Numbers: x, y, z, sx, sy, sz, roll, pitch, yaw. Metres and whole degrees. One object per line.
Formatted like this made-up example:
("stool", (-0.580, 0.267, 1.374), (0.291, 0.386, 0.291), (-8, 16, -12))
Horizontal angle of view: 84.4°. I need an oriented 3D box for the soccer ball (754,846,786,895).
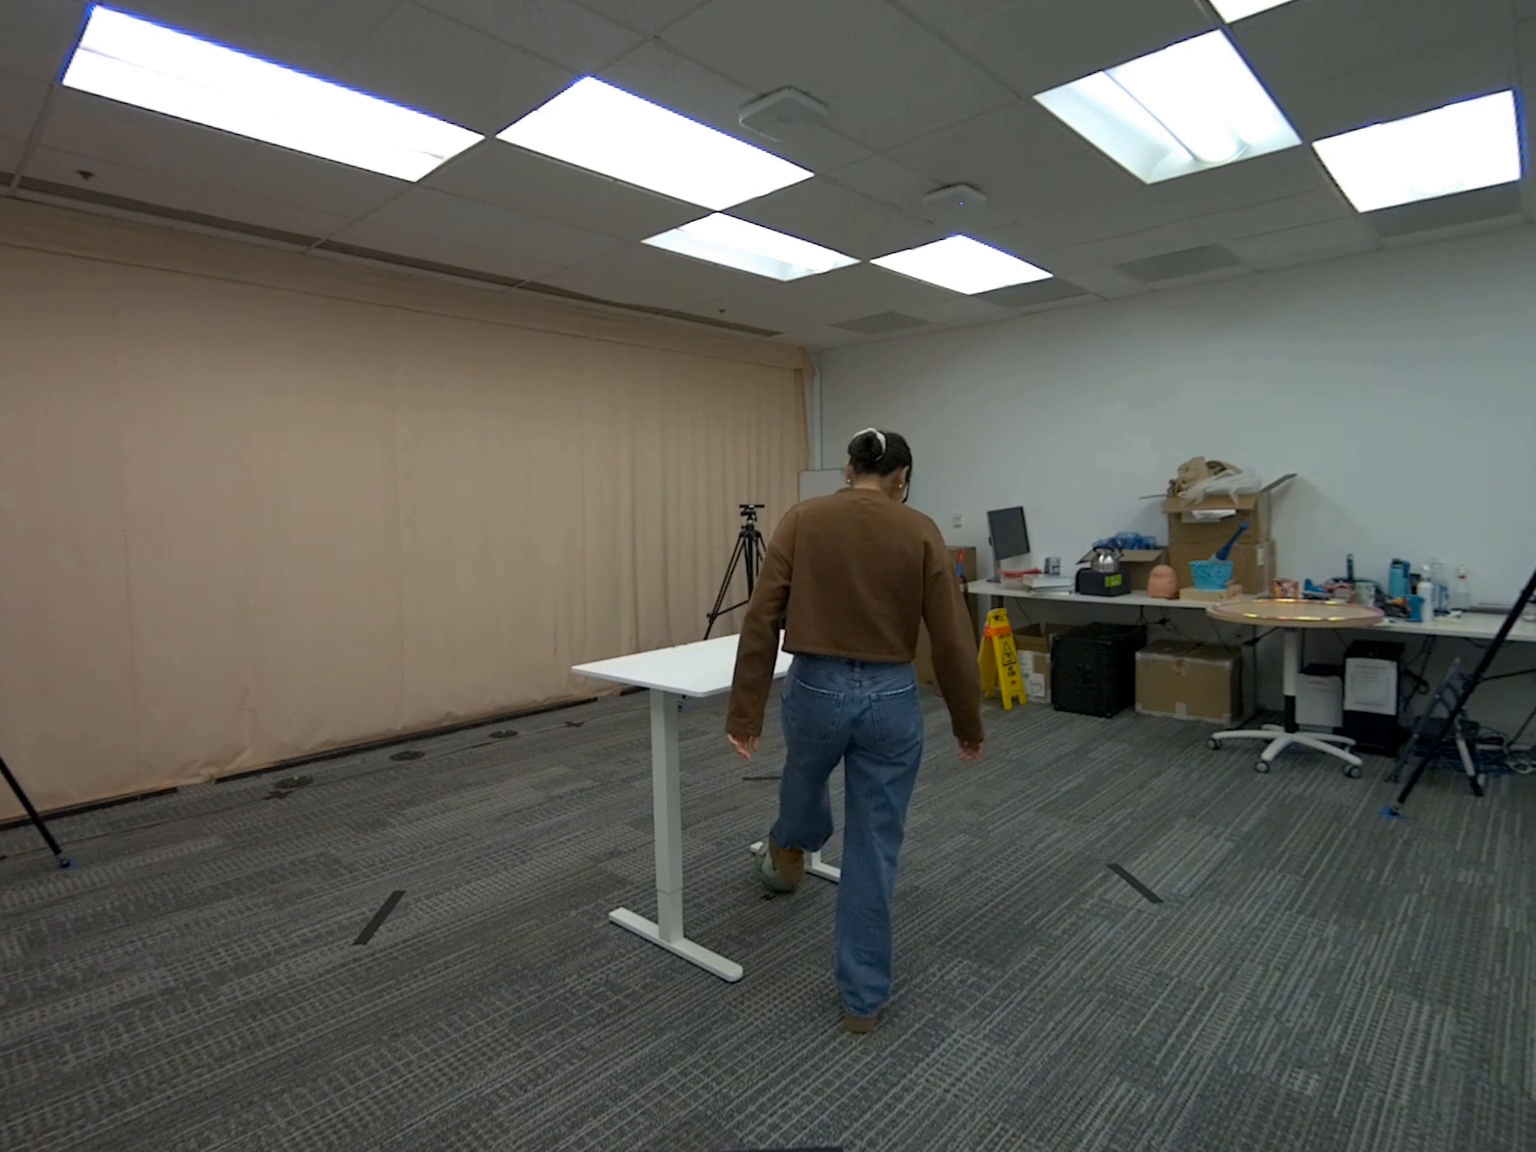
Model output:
("soccer ball", (0.052, 1.044, 3.031), (0.187, 0.187, 0.188), (-1, 4, -2))
